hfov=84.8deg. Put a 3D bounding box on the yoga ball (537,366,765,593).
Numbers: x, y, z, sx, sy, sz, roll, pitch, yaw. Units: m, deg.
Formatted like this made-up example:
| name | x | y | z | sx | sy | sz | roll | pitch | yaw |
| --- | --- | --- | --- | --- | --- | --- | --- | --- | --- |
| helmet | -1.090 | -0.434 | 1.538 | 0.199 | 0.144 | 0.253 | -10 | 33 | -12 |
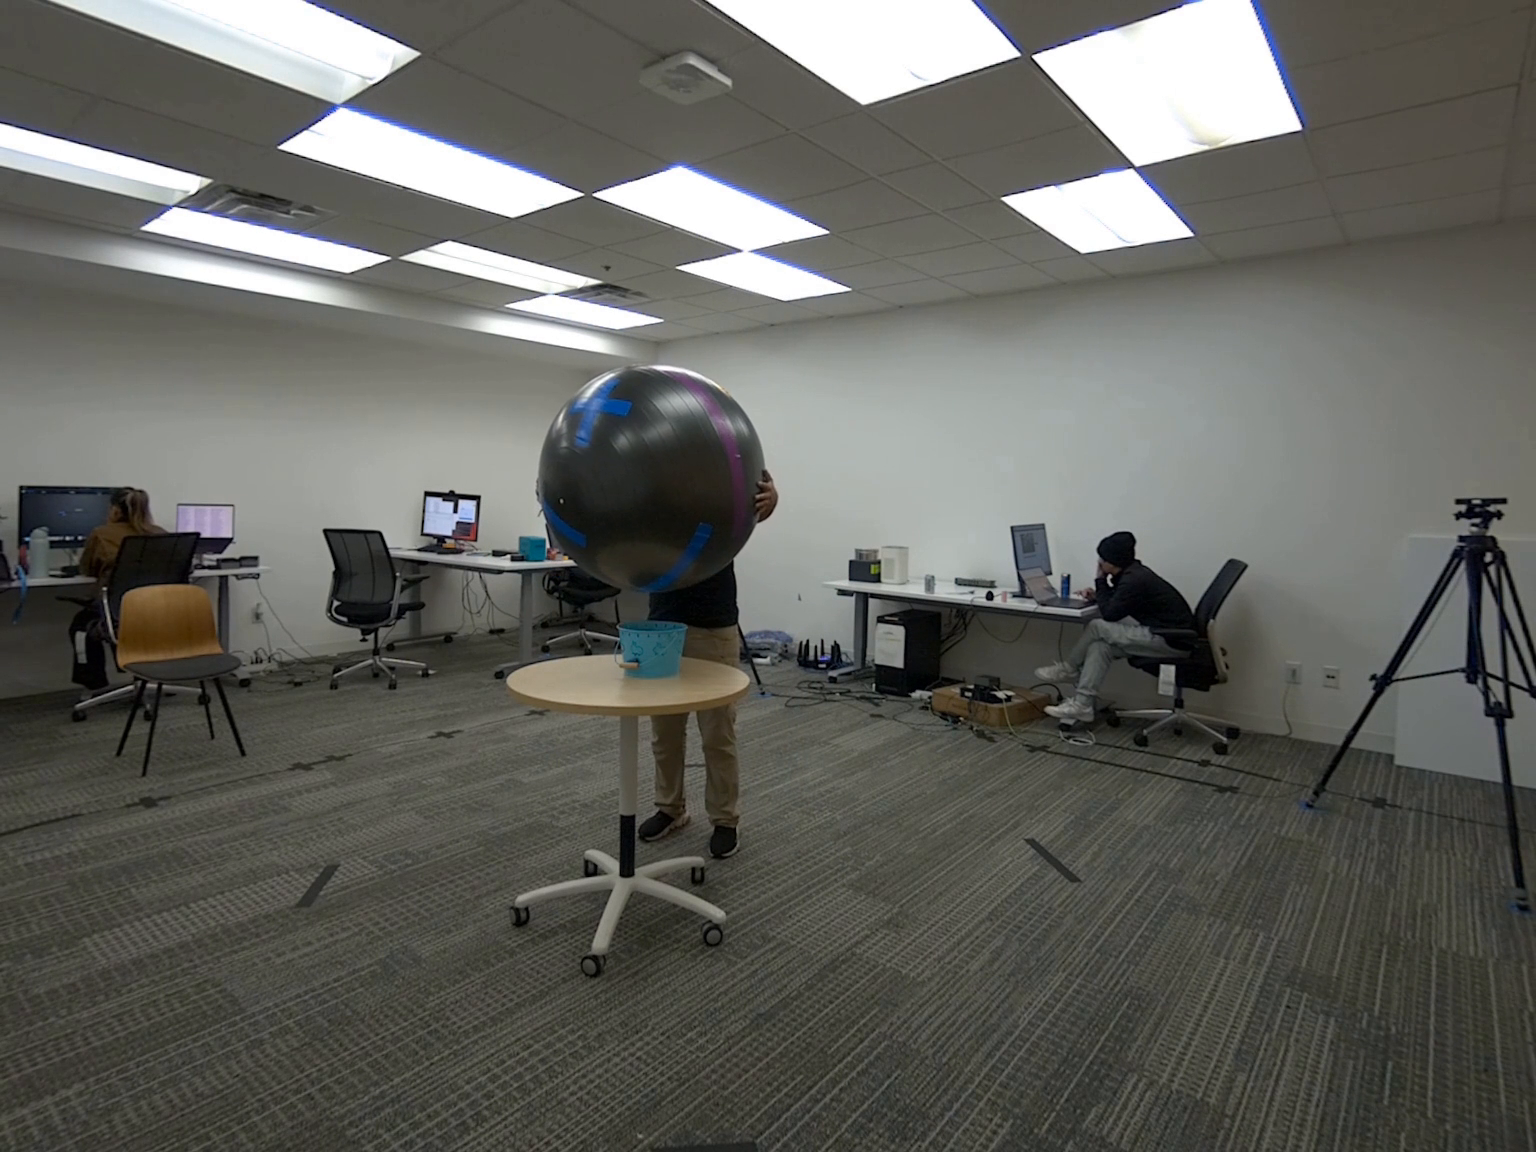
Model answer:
| name | x | y | z | sx | sy | sz | roll | pitch | yaw |
| --- | --- | --- | --- | --- | --- | --- | --- | --- | --- |
| yoga ball | -0.394 | -0.319 | 2.843 | 0.757 | 0.755 | 0.762 | 1 | 4 | -2 |
